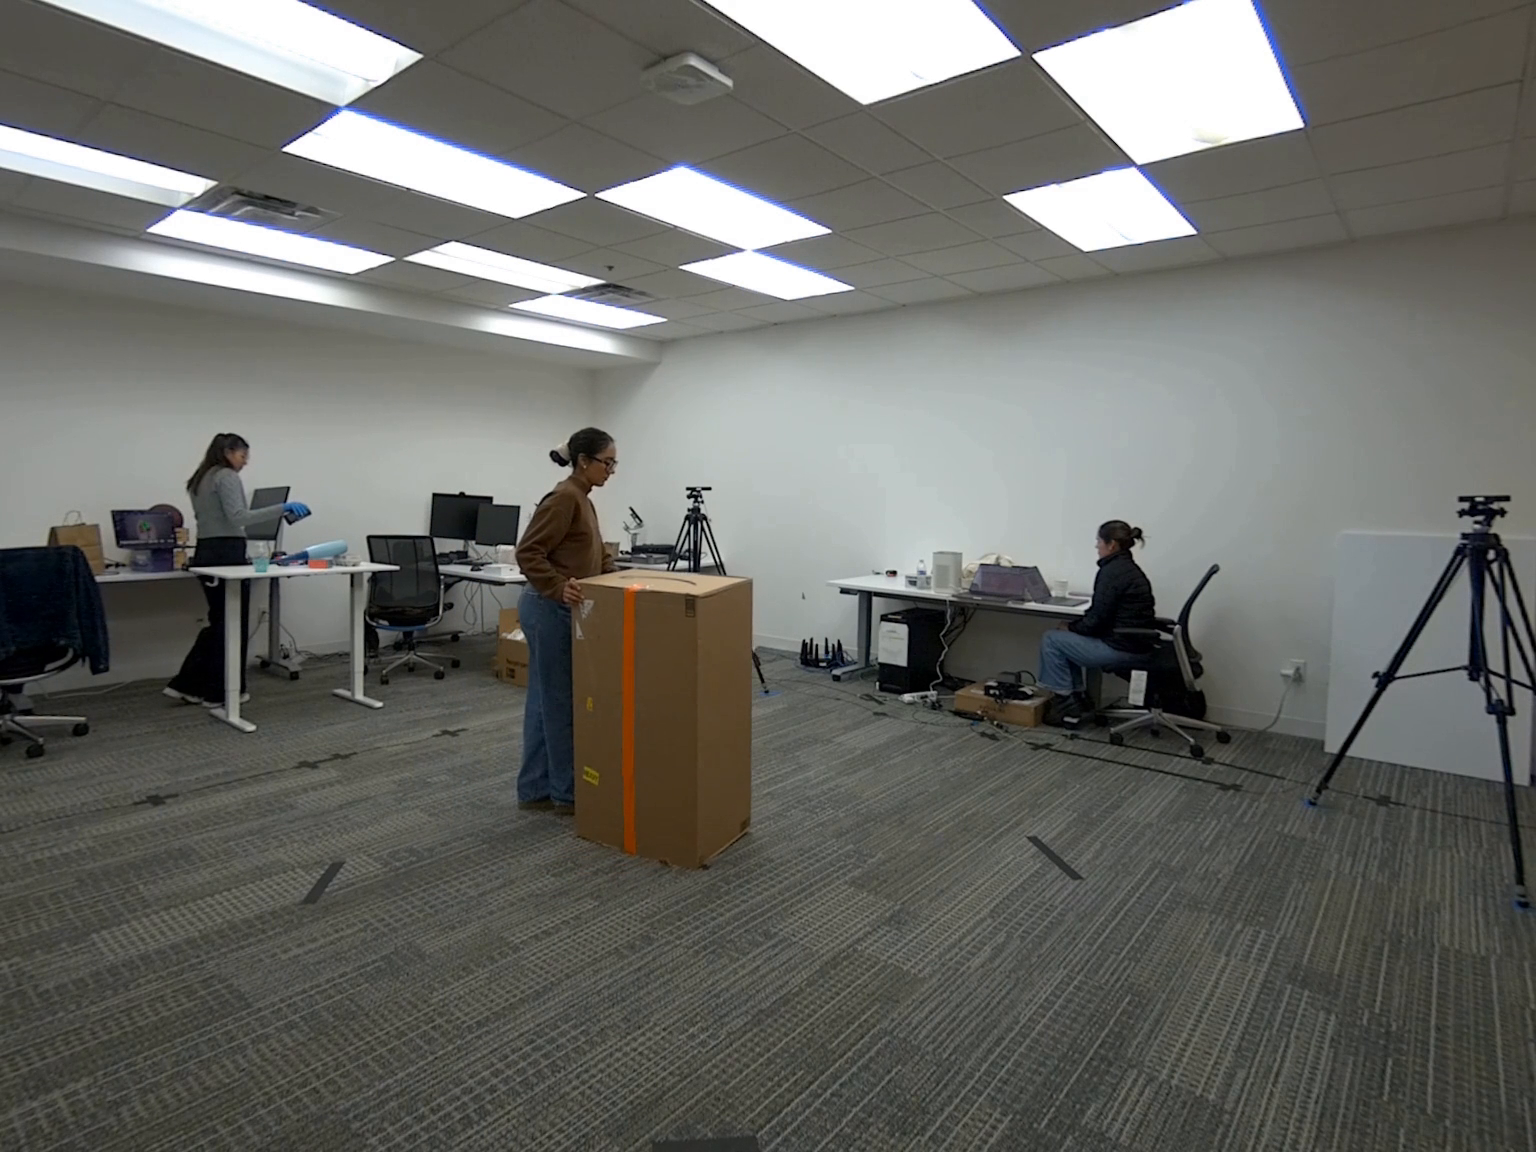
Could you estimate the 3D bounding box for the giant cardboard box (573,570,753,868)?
[{"bbox_3d":[-0.419,0.523,3.348,0.594,1.020,0.416,4,7,30],"label":"giant cardboard box"}]
